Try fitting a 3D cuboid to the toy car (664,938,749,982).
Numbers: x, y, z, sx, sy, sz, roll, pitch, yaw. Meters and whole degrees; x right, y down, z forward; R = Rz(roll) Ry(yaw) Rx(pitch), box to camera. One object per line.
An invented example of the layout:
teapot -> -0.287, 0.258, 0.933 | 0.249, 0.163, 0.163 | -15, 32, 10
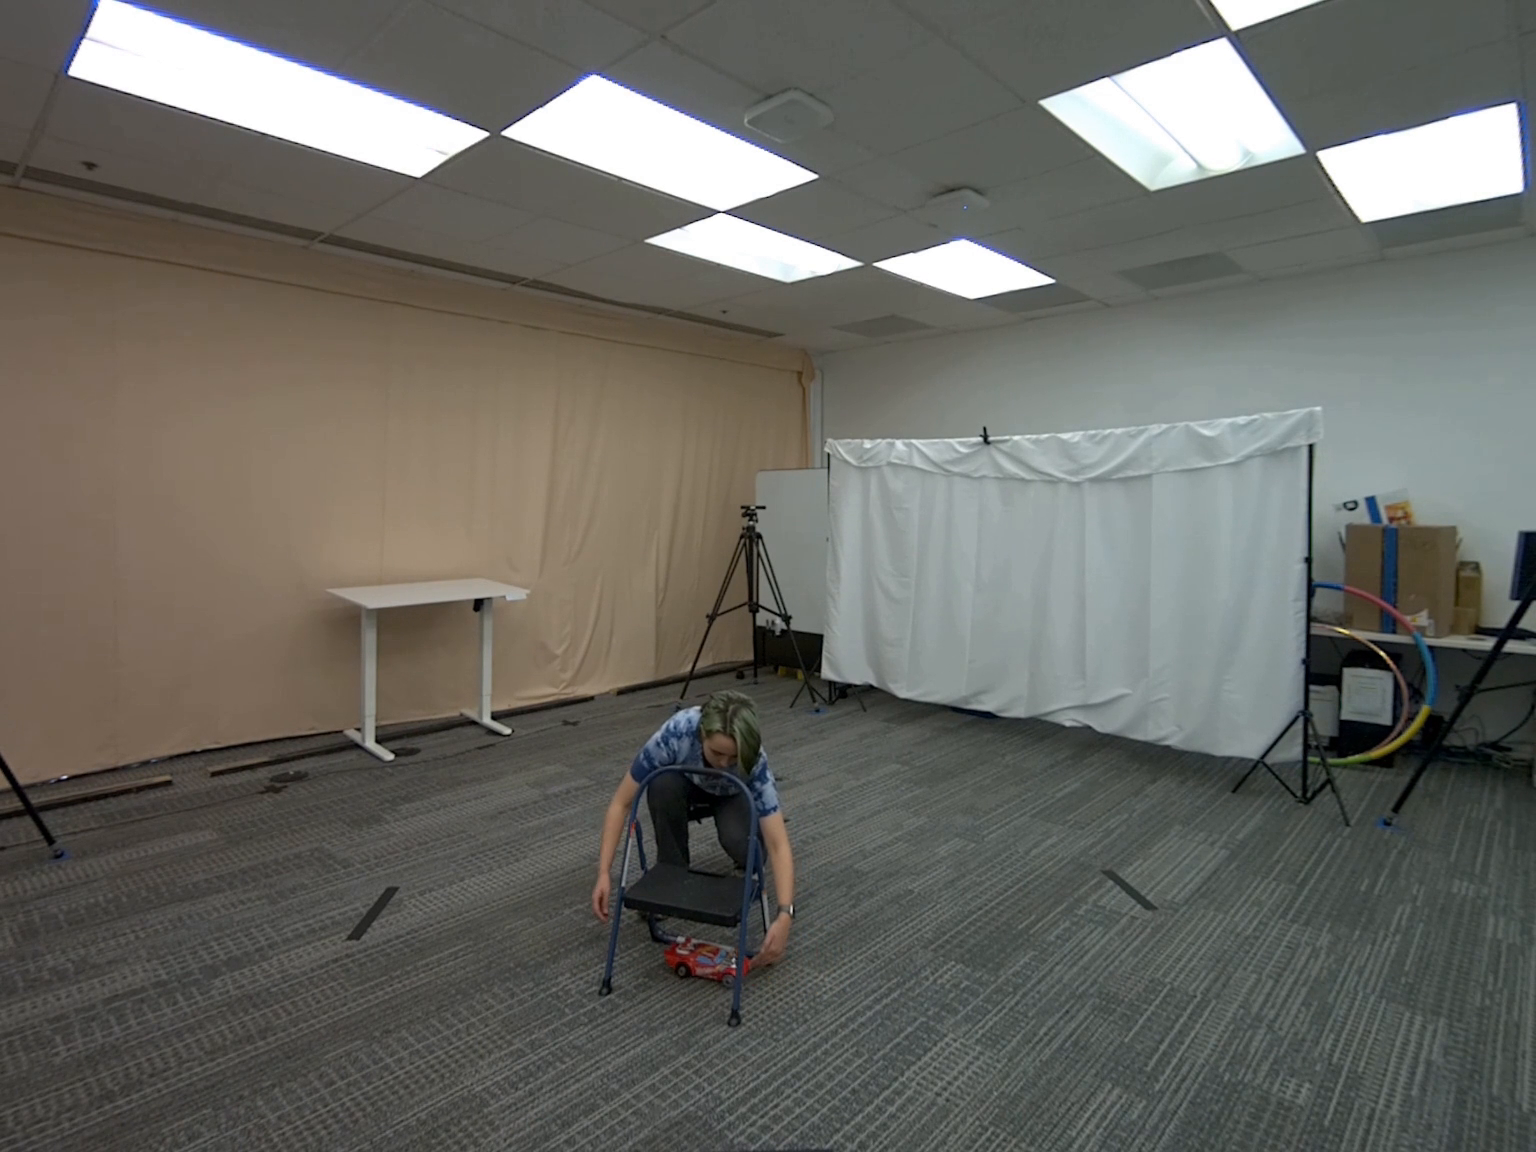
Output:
toy car -> -0.183, 1.148, 2.521 | 0.260, 0.083, 0.128 | 13, 11, 17
